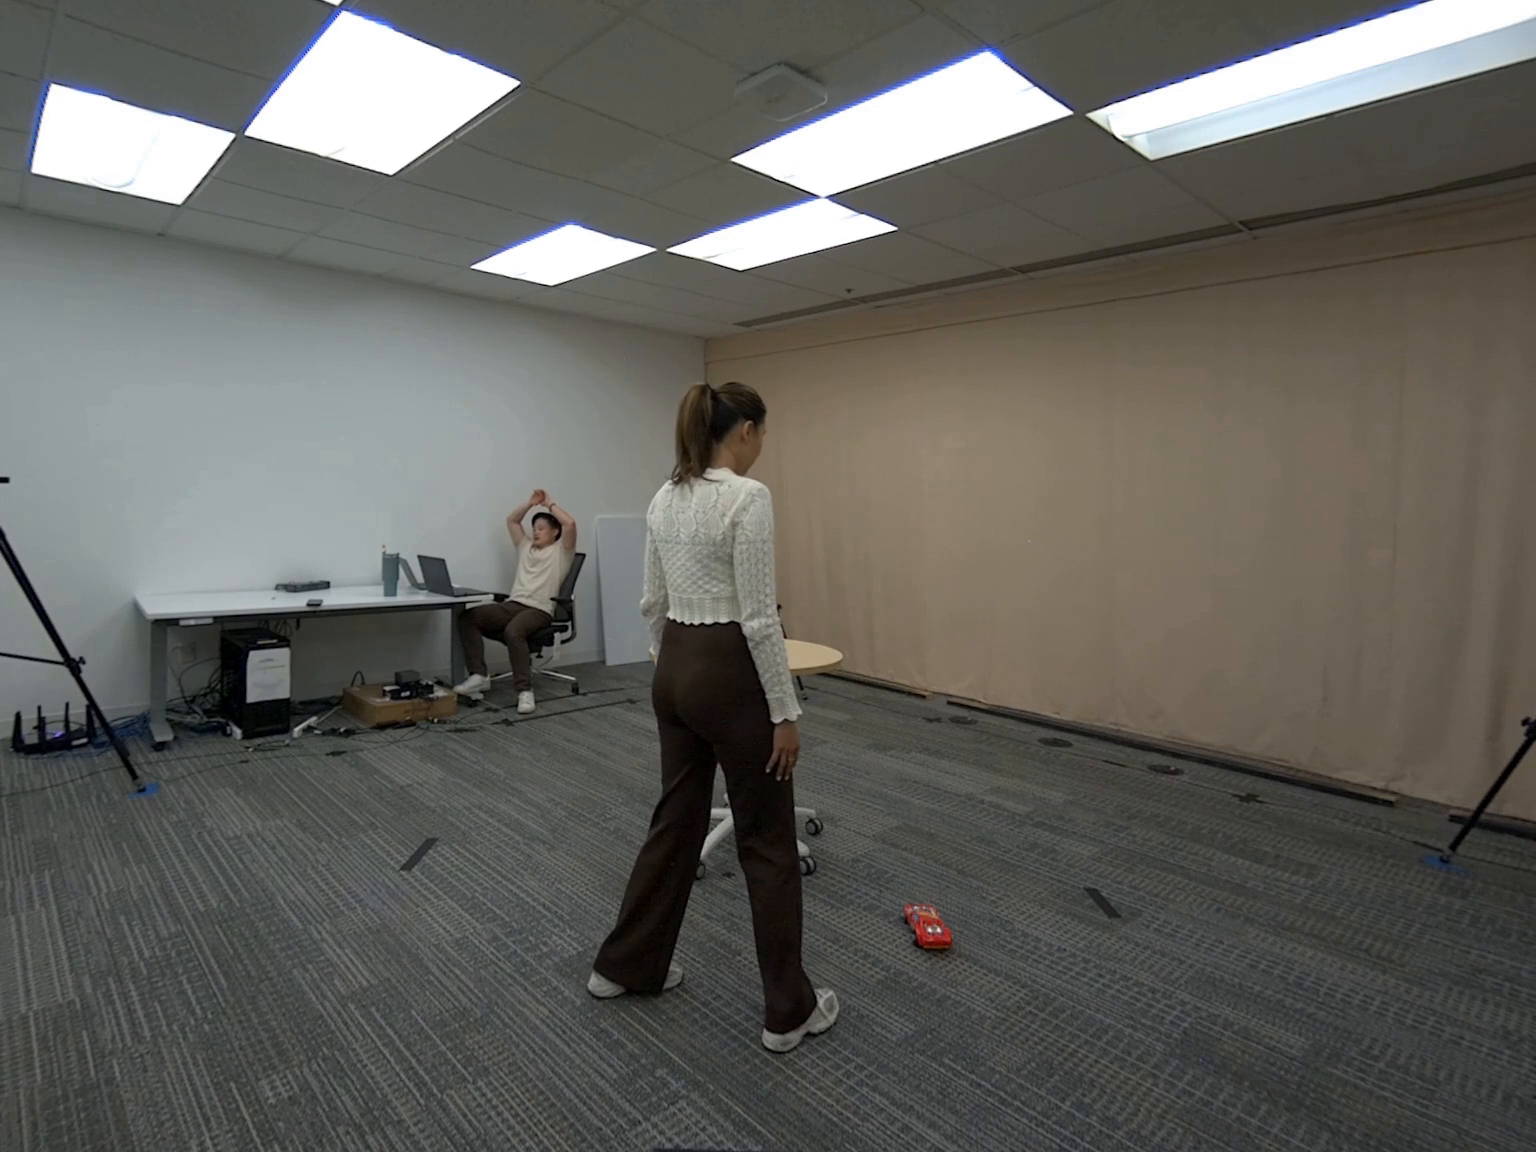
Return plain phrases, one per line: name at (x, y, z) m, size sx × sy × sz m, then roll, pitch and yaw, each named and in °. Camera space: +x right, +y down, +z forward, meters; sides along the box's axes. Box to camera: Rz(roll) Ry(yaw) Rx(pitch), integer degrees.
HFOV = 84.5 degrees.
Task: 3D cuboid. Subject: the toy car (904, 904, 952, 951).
toy car at (0.508, 1.127, 2.686) m, size 0.130 × 0.083 × 0.254 m, roll 1°, pitch -6°, yaw -5°
